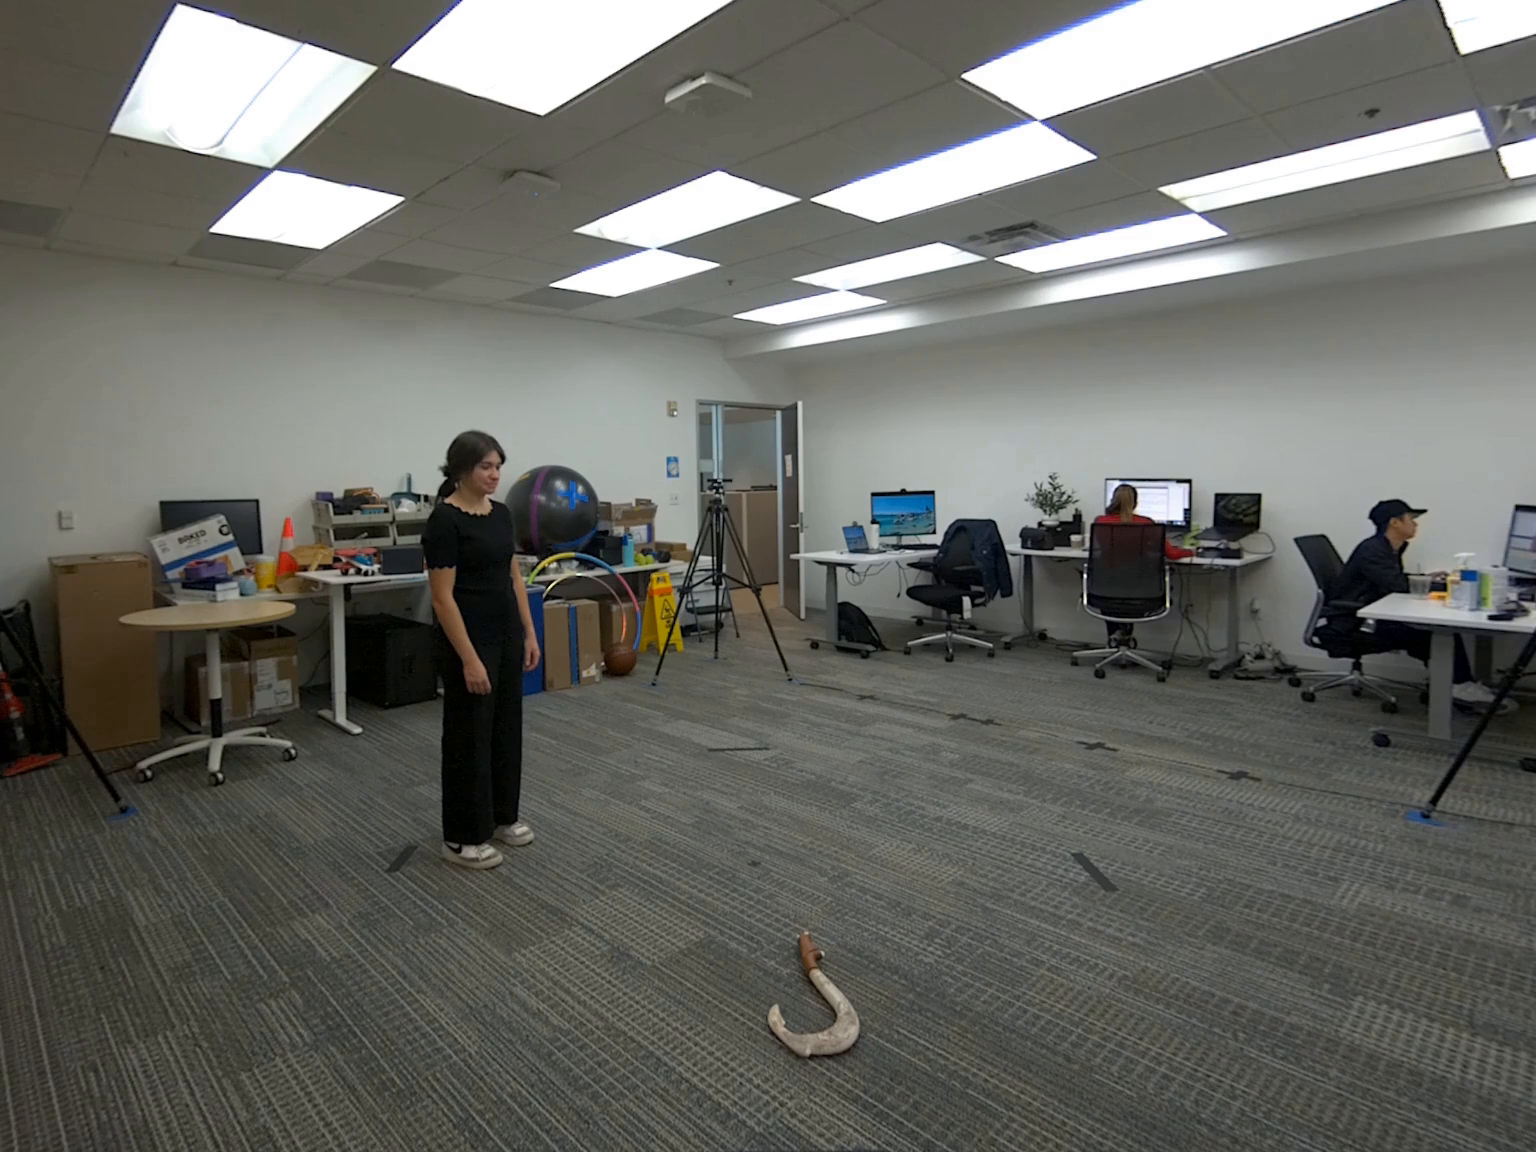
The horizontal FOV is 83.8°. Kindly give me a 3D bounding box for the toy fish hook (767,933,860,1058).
[{"bbox_3d":[0.098,1.112,2.306,0.223,0.048,0.513,-1,6,-9],"label":"toy fish hook"}]
